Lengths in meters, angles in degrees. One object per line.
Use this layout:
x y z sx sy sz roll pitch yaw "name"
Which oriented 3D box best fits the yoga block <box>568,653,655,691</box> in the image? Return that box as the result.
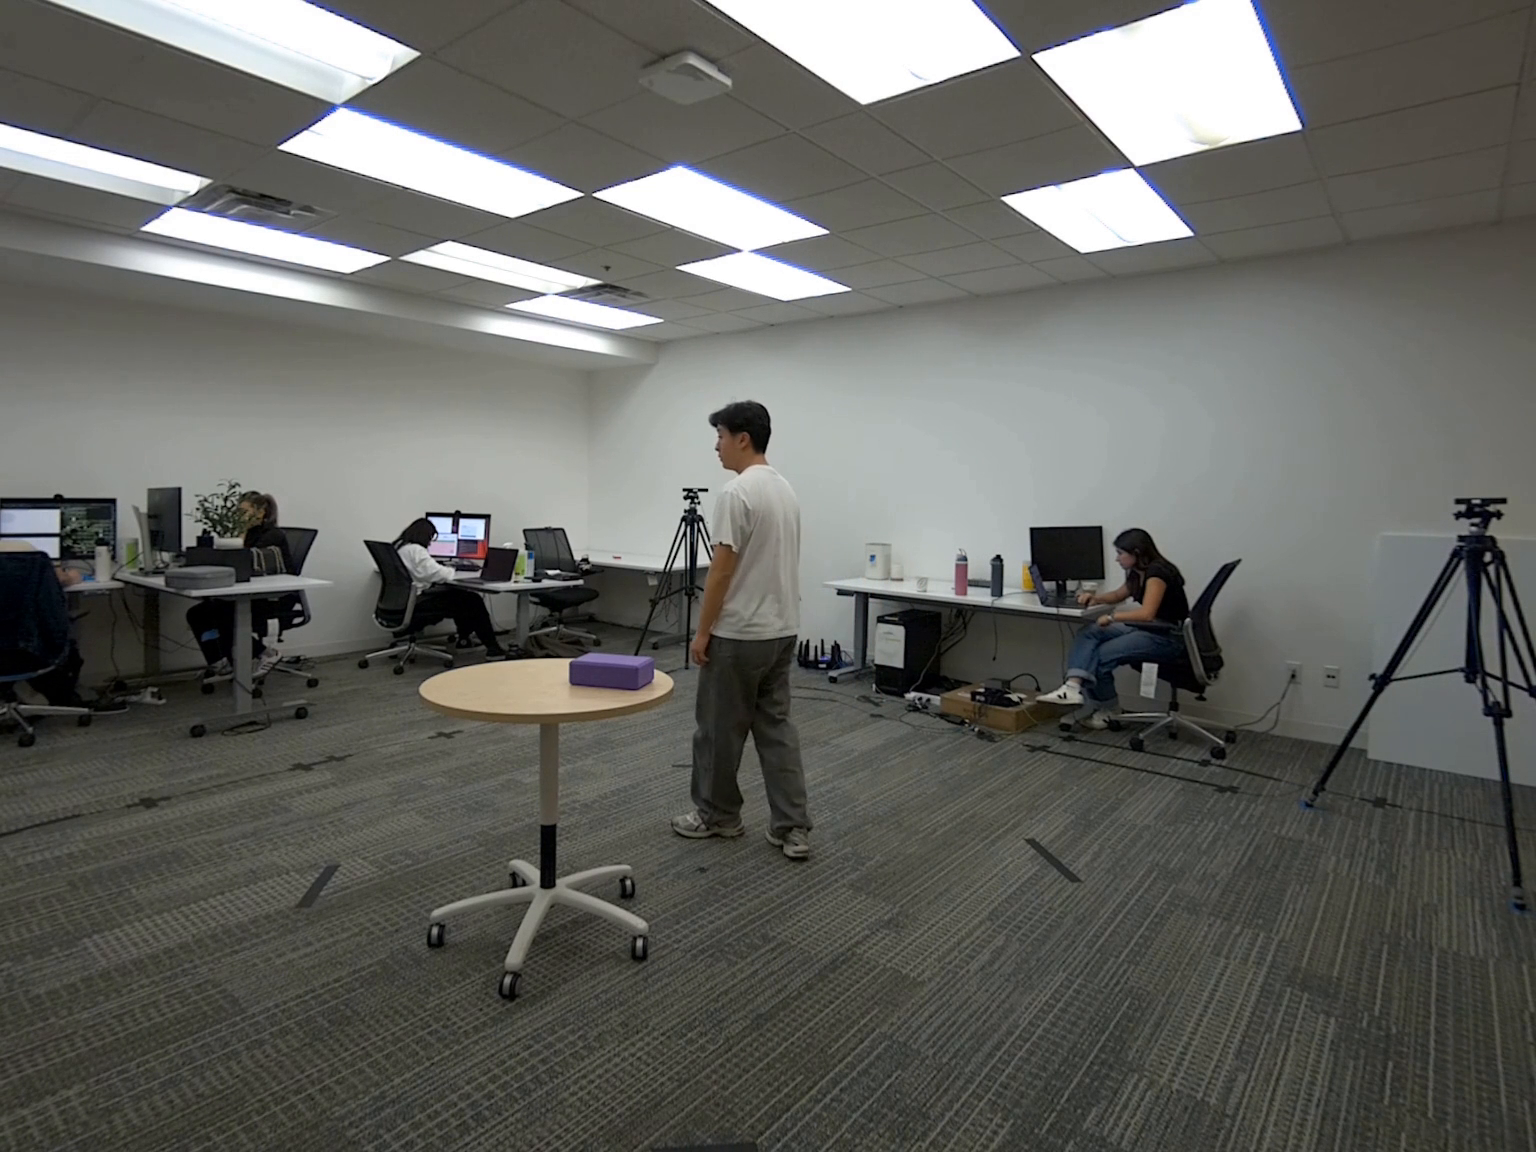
-0.488 0.288 2.636 0.233 0.076 0.147 2 5 15 "yoga block"
